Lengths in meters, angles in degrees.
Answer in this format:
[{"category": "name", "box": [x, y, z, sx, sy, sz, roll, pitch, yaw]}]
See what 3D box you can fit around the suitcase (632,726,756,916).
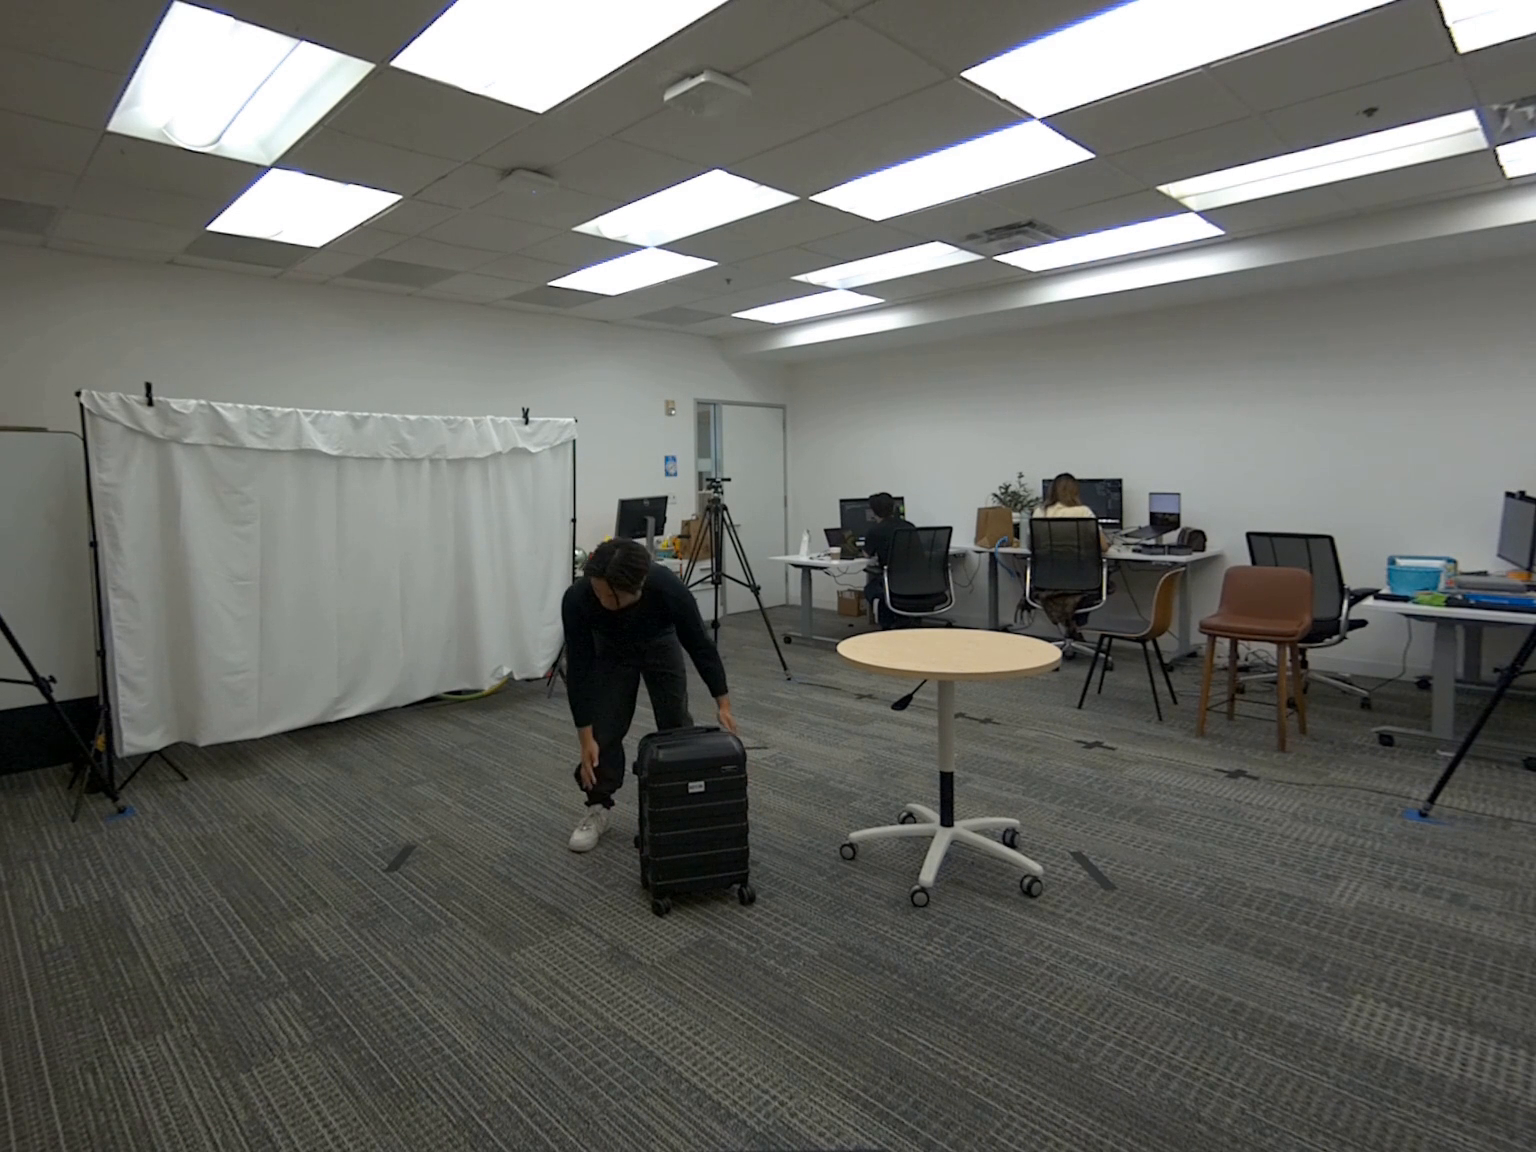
[{"category": "suitcase", "box": [-0.249, 0.795, 2.878, 0.370, 0.547, 0.252, -3, 4, -15]}]
